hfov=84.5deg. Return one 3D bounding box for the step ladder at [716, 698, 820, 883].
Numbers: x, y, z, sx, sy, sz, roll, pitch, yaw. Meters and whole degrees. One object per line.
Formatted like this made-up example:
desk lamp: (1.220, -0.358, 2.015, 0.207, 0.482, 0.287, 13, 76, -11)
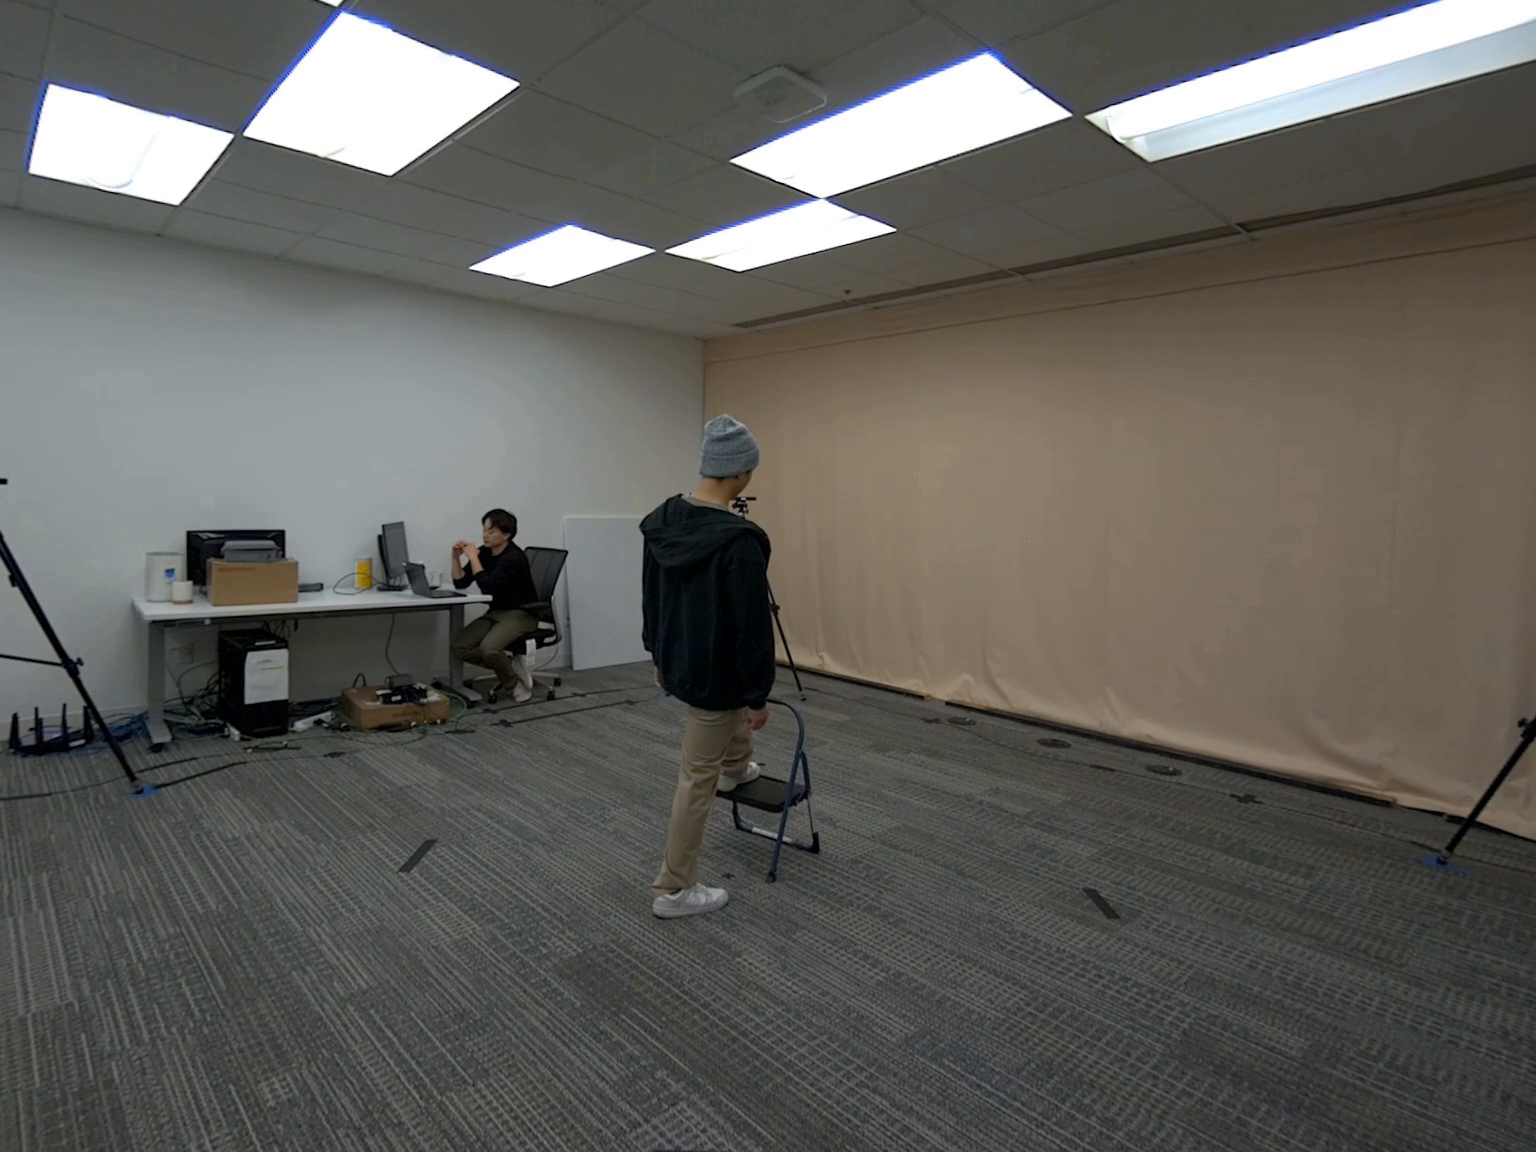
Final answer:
step ladder: (-0.054, 0.790, 3.306, 0.441, 0.605, 0.341, 4, 4, 37)
